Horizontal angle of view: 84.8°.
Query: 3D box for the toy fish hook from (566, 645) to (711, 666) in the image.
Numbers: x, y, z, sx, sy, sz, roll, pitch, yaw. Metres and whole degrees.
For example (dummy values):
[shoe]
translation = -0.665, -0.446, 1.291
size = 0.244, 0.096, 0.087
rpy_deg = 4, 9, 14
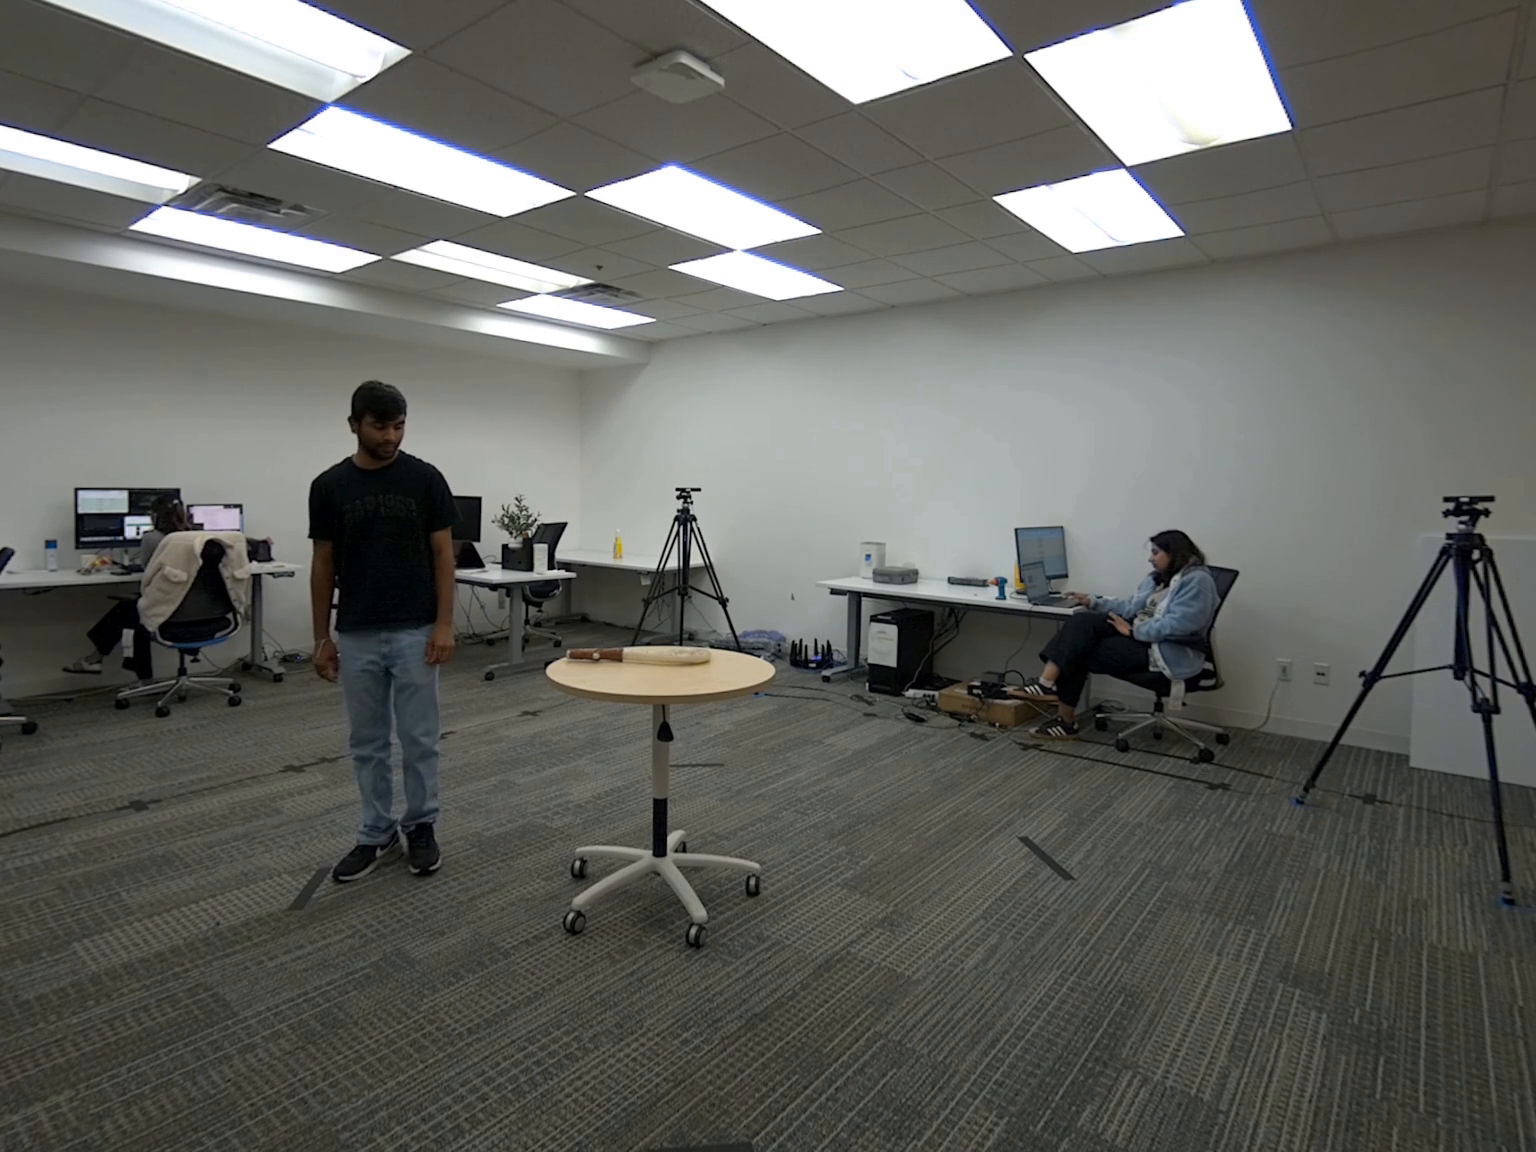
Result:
[toy fish hook]
translation = -0.471, 0.277, 3.000
size = 0.507, 0.048, 0.224
rpy_deg = 2, -1, 0
